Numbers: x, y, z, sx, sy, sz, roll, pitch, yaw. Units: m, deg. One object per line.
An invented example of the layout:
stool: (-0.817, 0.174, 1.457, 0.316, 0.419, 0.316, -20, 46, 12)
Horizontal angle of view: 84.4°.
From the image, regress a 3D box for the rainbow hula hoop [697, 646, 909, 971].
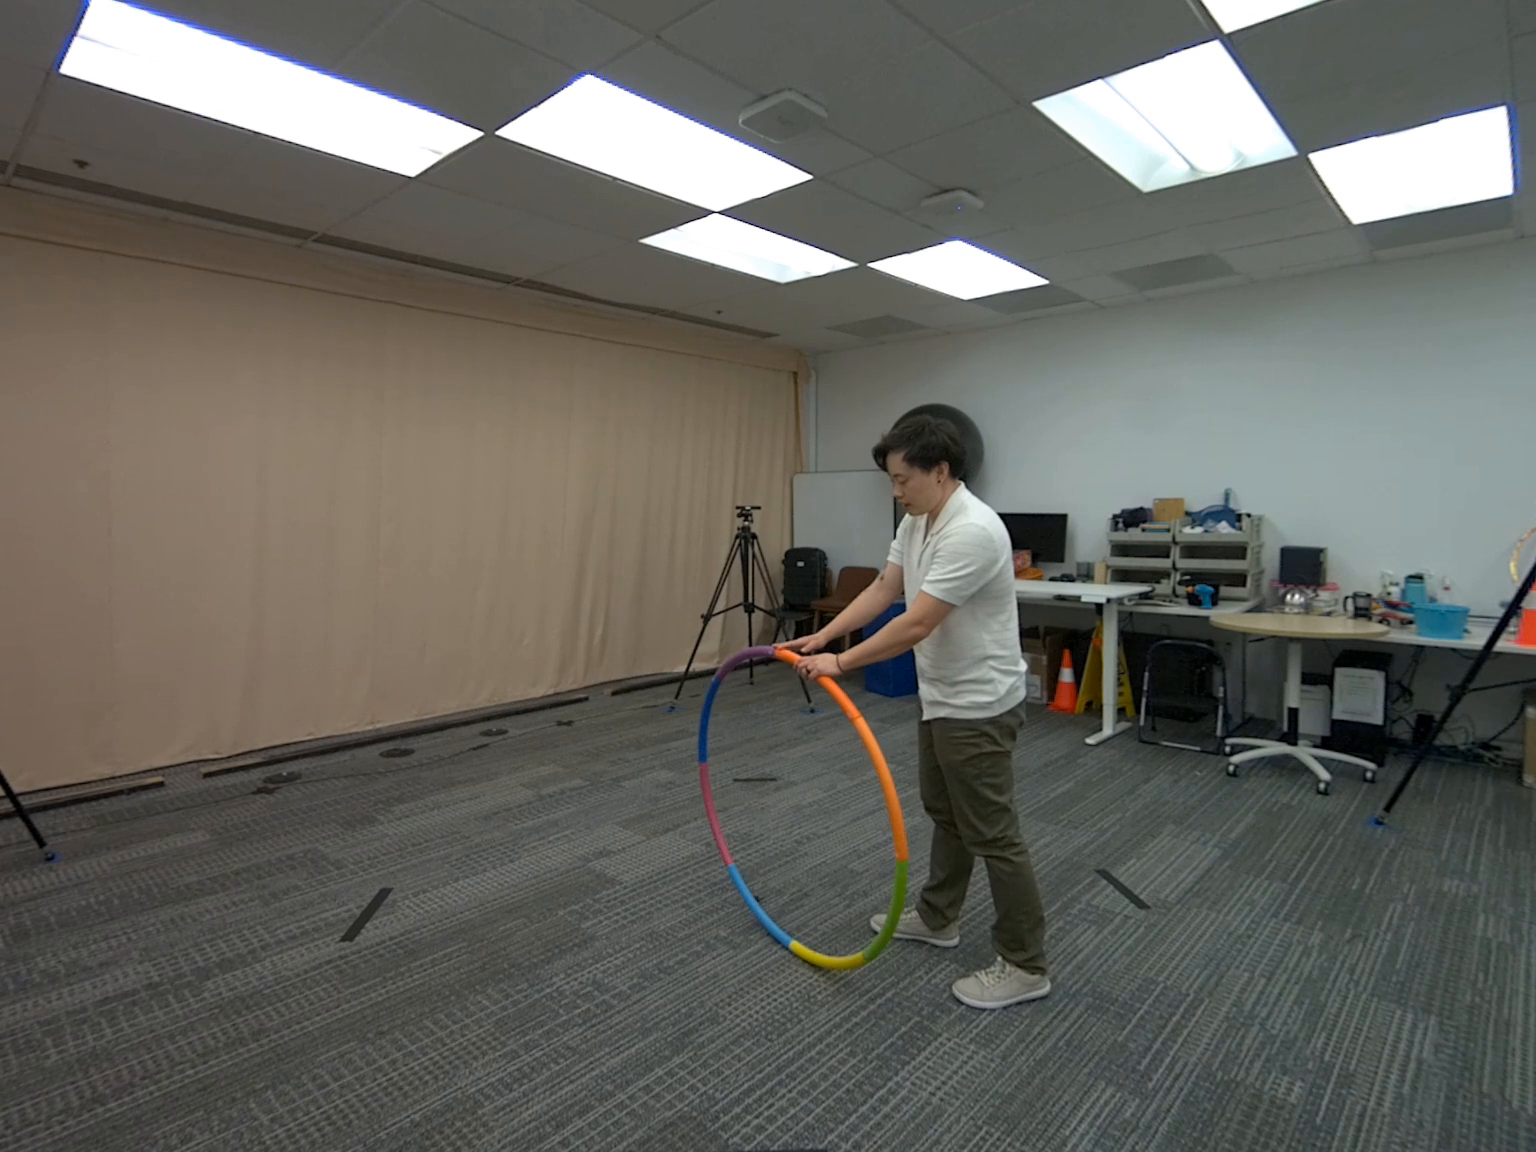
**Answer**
rainbow hula hoop: (0.056, 0.700, 2.598, 0.034, 0.975, 1.009, -7, 7, -34)
